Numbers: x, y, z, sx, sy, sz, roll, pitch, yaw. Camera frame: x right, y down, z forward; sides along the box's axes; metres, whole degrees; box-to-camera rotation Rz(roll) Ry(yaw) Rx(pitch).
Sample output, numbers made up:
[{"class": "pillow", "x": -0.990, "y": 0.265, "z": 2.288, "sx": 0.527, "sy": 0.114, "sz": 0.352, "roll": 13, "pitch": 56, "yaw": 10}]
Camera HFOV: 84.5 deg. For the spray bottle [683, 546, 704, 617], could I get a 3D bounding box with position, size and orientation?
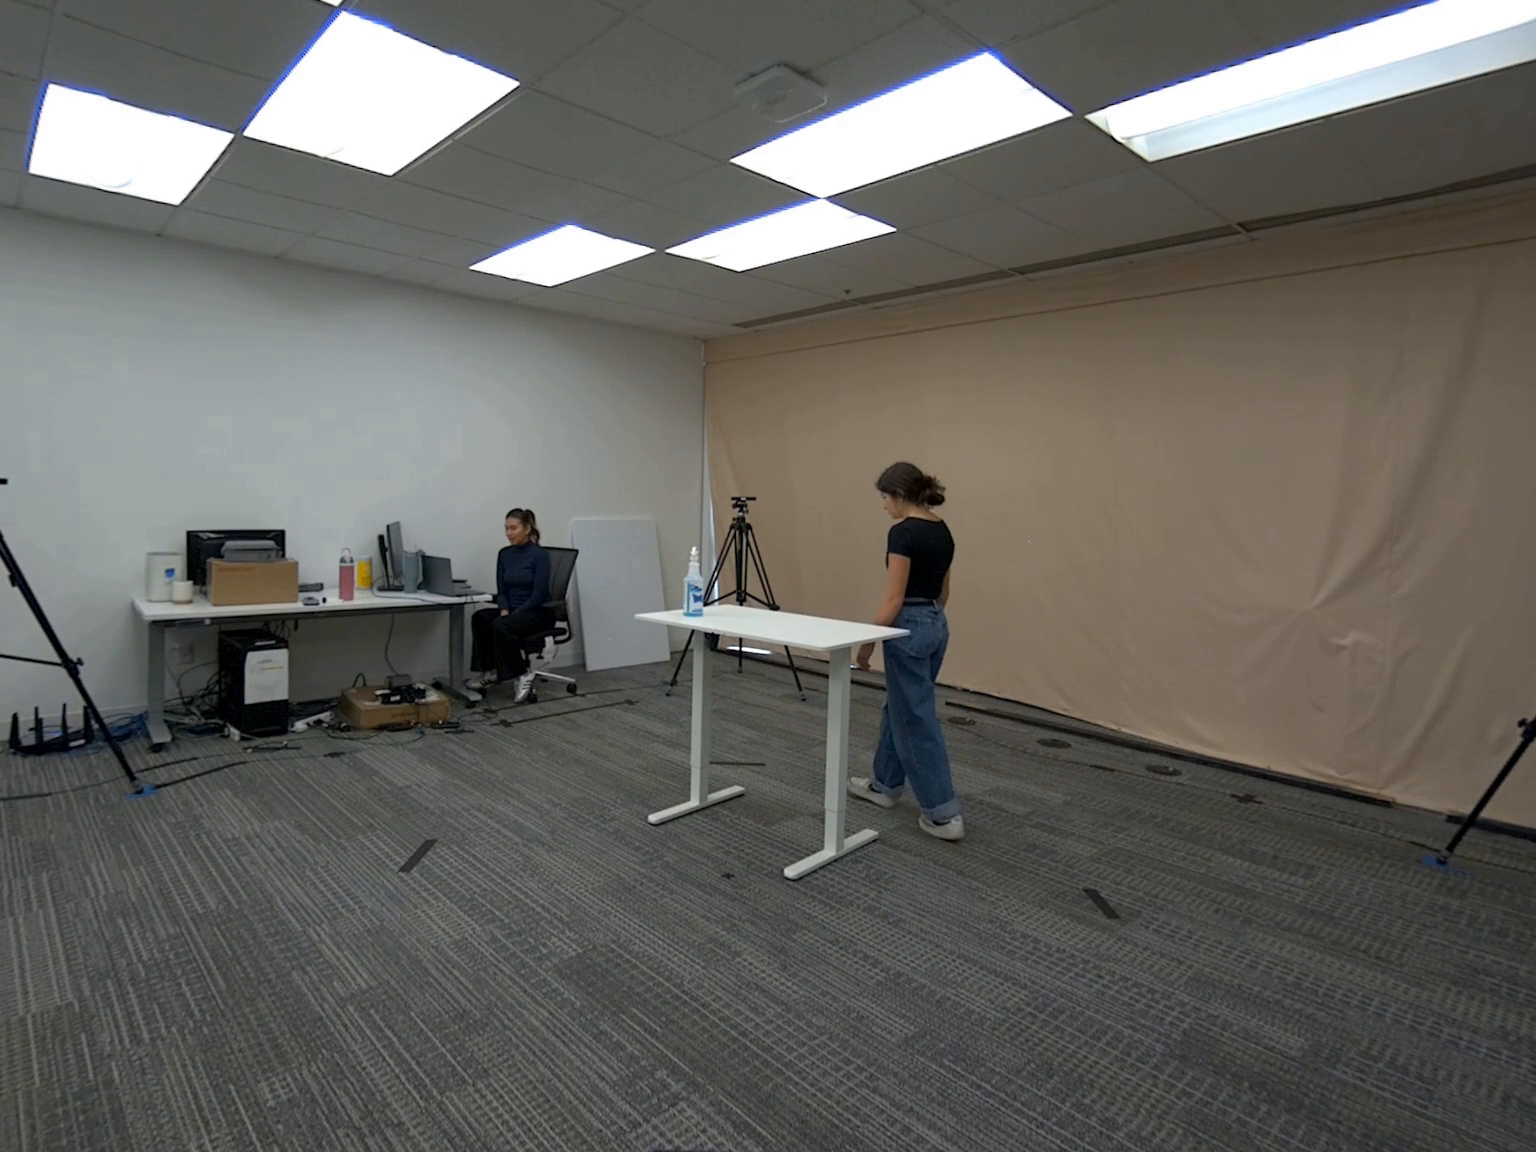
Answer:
[{"class": "spray bottle", "x": -0.334, "y": 0.028, "z": 3.645, "sx": 0.088, "sy": 0.297, "sz": 0.088, "roll": 1, "pitch": 1, "yaw": 24}]
